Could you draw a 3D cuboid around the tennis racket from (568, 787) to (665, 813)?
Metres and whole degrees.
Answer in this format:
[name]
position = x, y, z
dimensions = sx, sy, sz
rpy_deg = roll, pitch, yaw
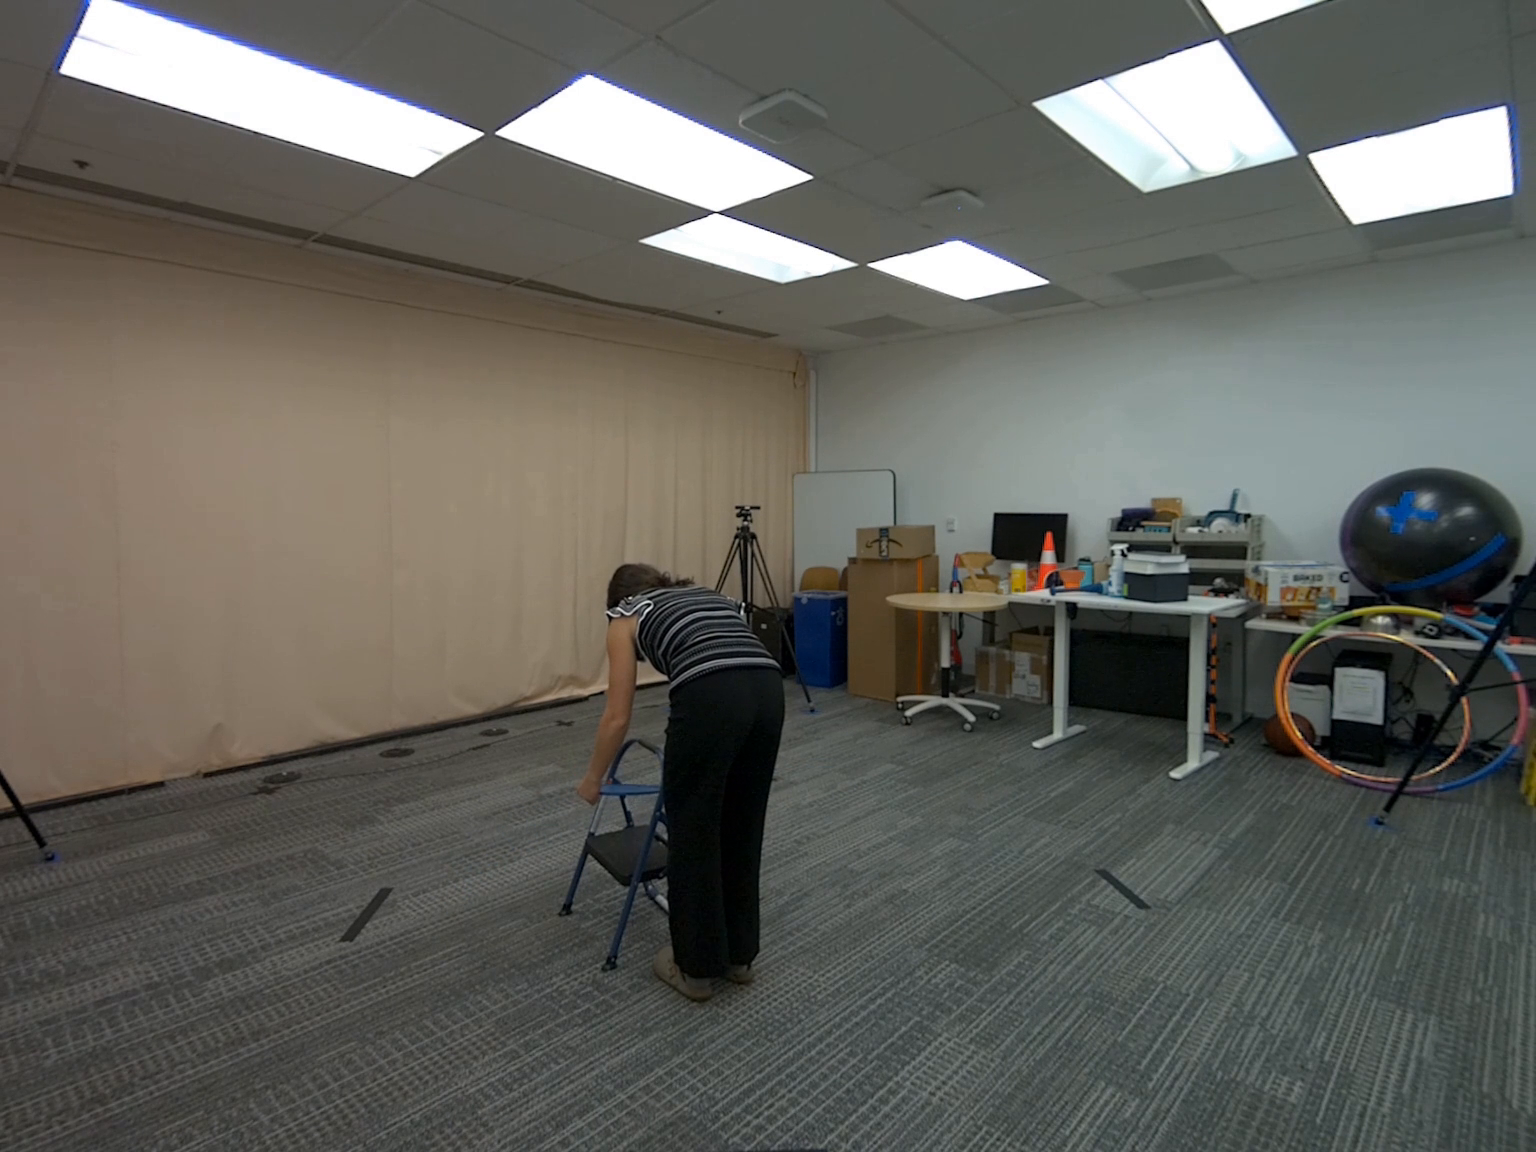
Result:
[tennis racket]
position = -0.401, 0.717, 2.727
dimensions = 0.421, 0.032, 0.219
rpy_deg = 7, -7, -28
